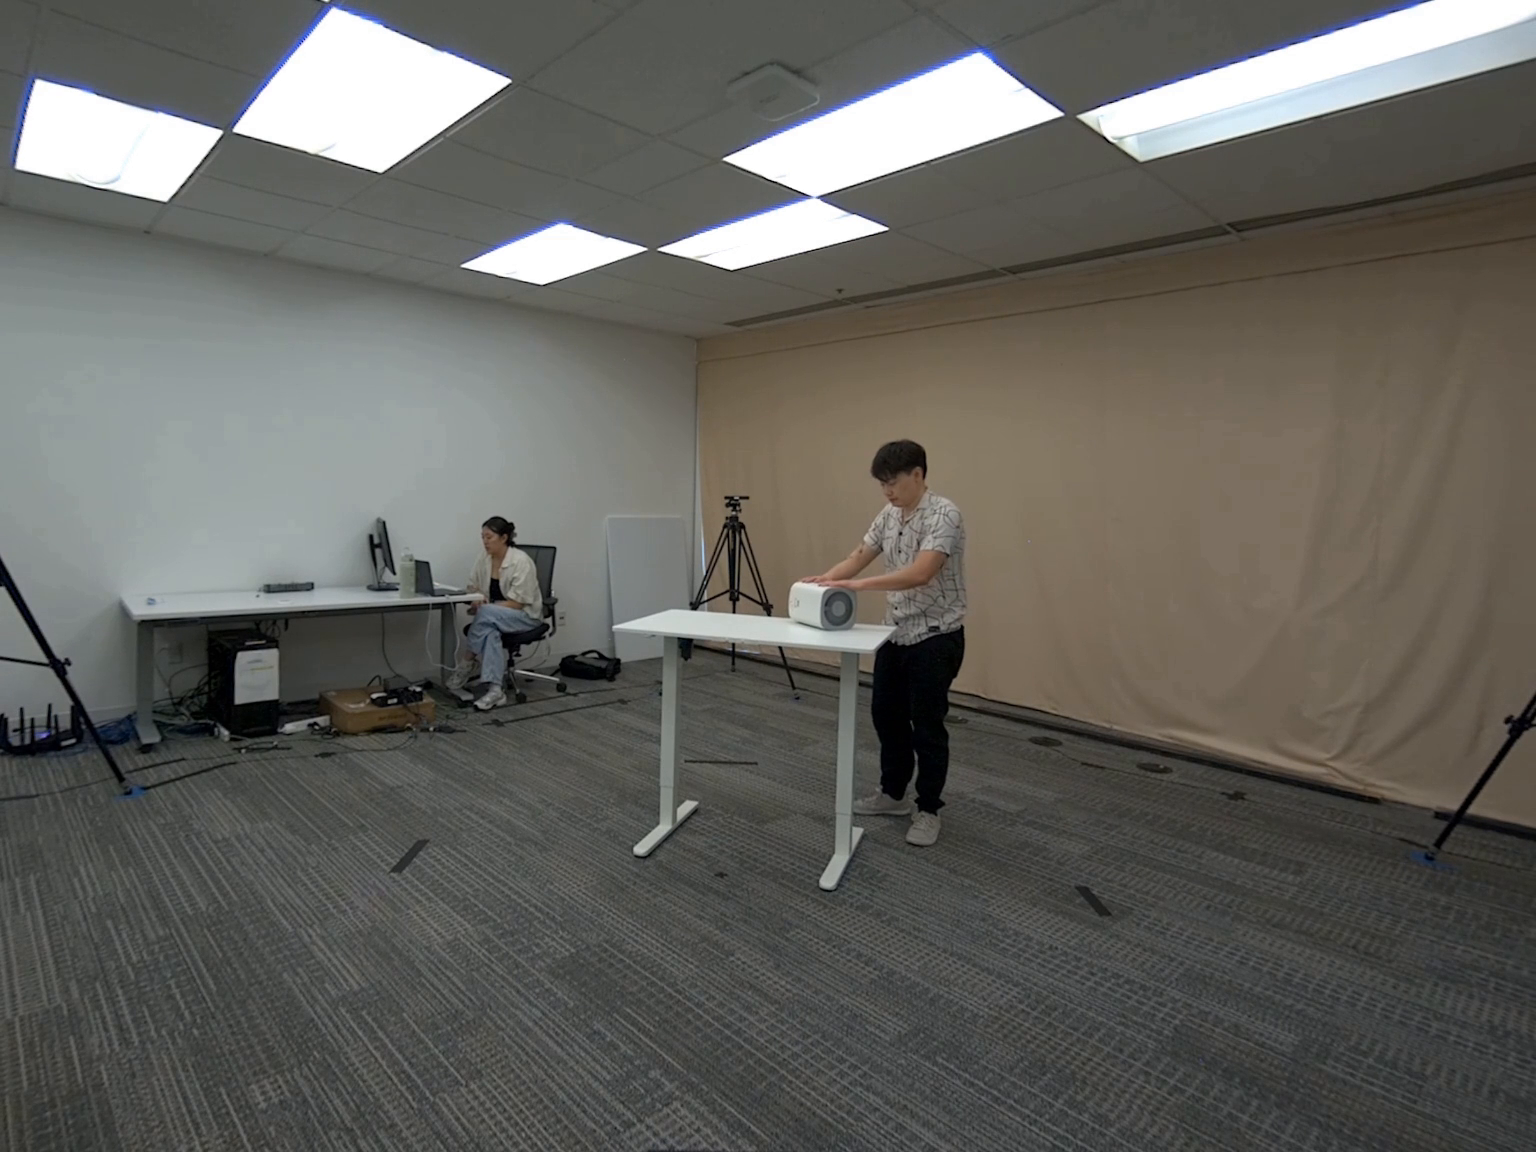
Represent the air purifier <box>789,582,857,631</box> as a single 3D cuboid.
[{"bbox_3d":[0.209,0.116,3.419,0.168,0.171,0.271,1,4,-28],"label":"air purifier"}]
